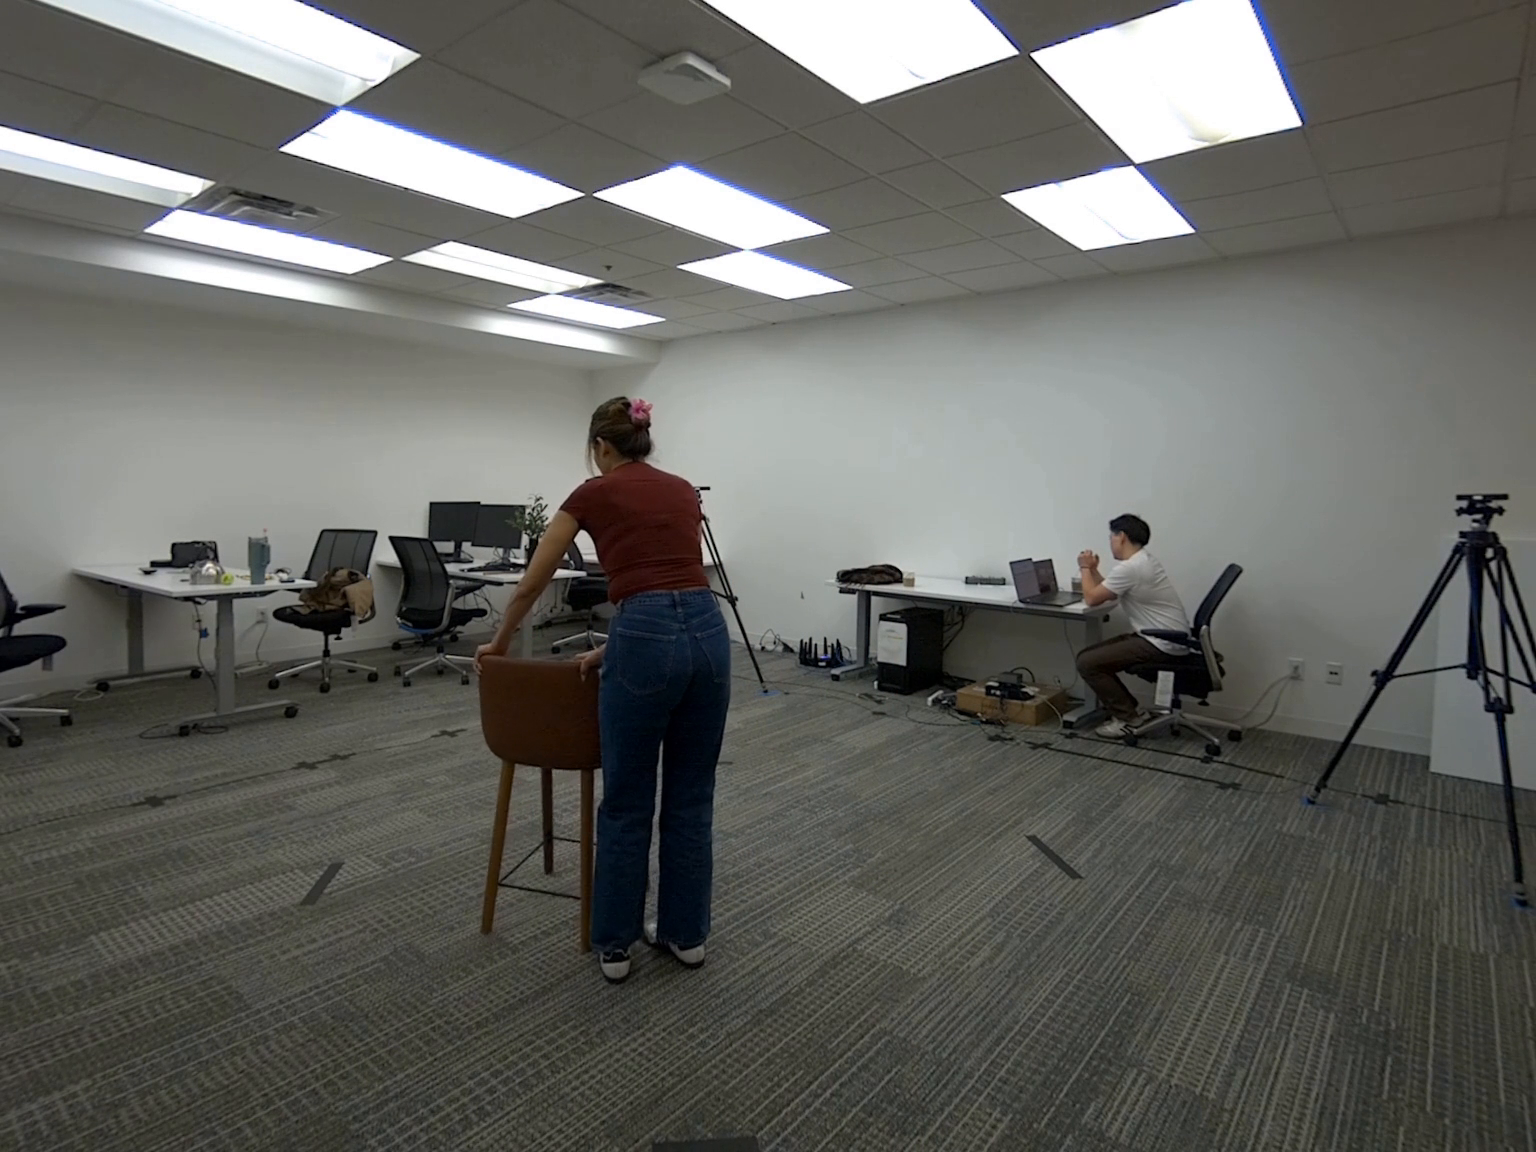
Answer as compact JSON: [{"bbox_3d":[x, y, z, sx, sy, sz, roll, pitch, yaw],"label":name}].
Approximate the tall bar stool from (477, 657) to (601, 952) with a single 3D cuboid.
[{"bbox_3d":[-0.675,0.659,2.765,0.465,0.885,0.461,1,5,17],"label":"tall bar stool"}]
